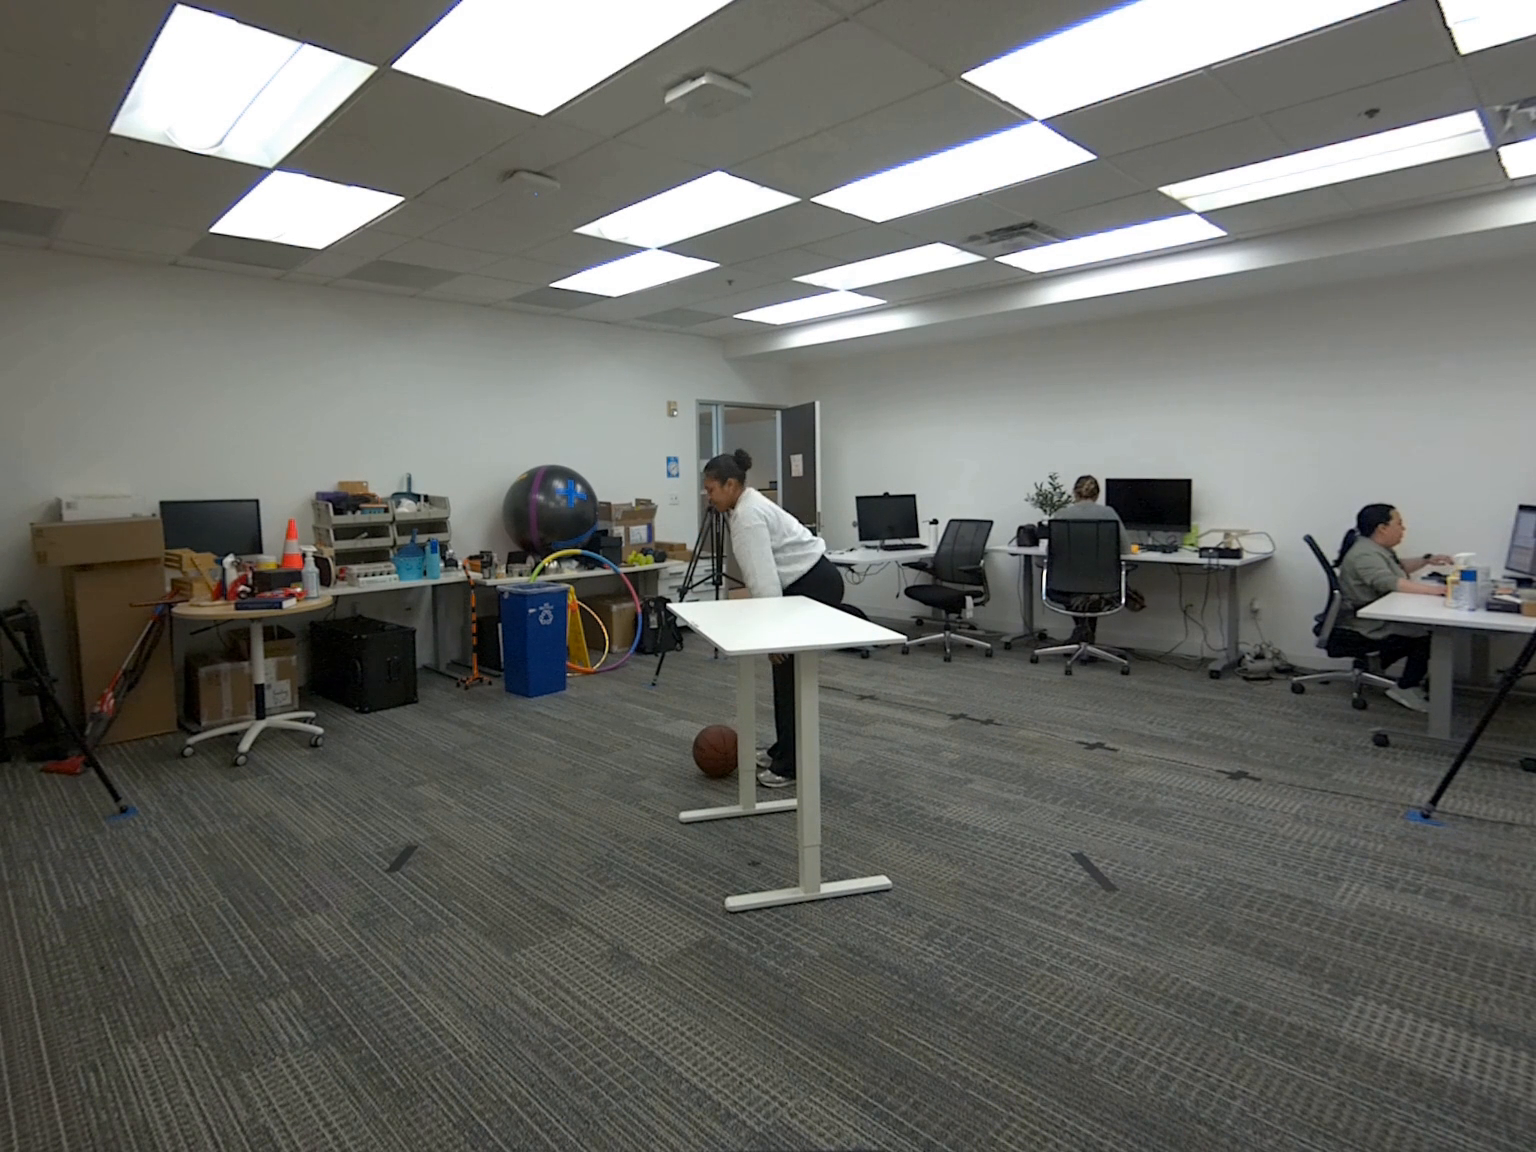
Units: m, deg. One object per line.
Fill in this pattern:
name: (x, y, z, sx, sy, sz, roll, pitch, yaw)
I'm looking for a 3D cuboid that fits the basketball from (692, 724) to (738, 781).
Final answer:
basketball: (-0.238, 0.823, 4.052, 0.236, 0.235, 0.237, -1, 5, -2)
